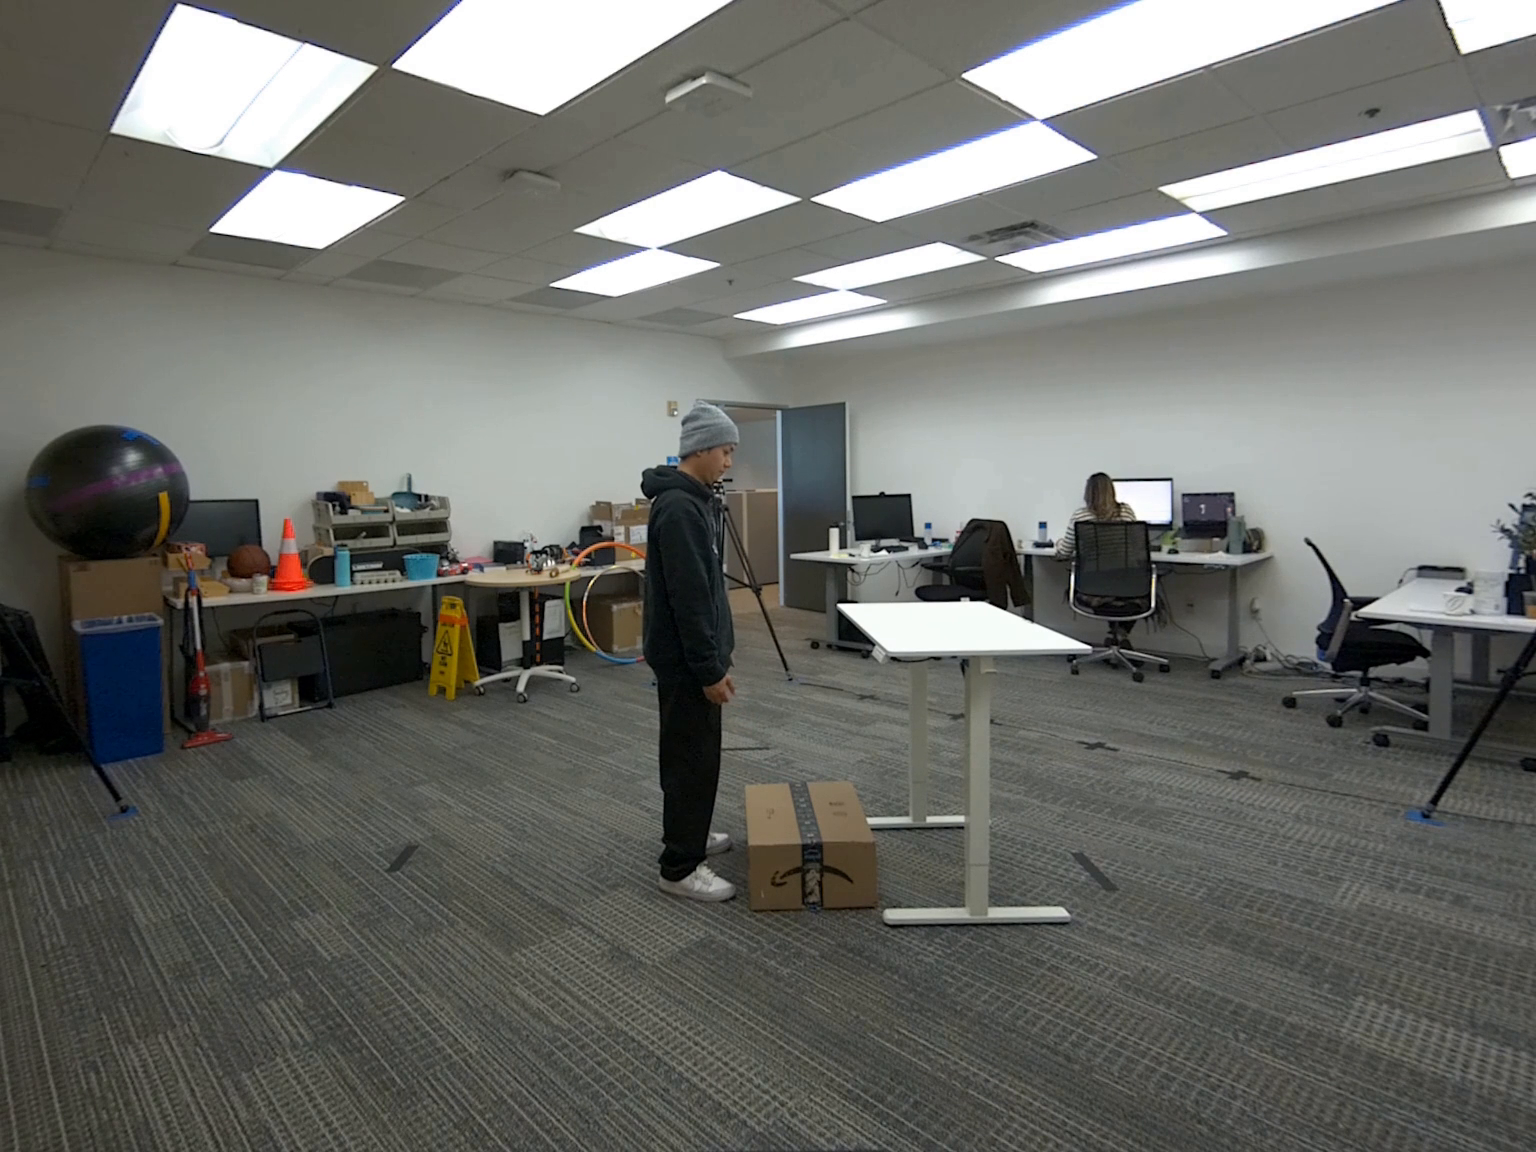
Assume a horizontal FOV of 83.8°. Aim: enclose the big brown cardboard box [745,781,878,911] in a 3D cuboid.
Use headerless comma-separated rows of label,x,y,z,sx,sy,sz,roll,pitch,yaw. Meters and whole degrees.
big brown cardboard box,0.130,0.936,3.029,0.417,0.232,0.592,-1,7,-1
